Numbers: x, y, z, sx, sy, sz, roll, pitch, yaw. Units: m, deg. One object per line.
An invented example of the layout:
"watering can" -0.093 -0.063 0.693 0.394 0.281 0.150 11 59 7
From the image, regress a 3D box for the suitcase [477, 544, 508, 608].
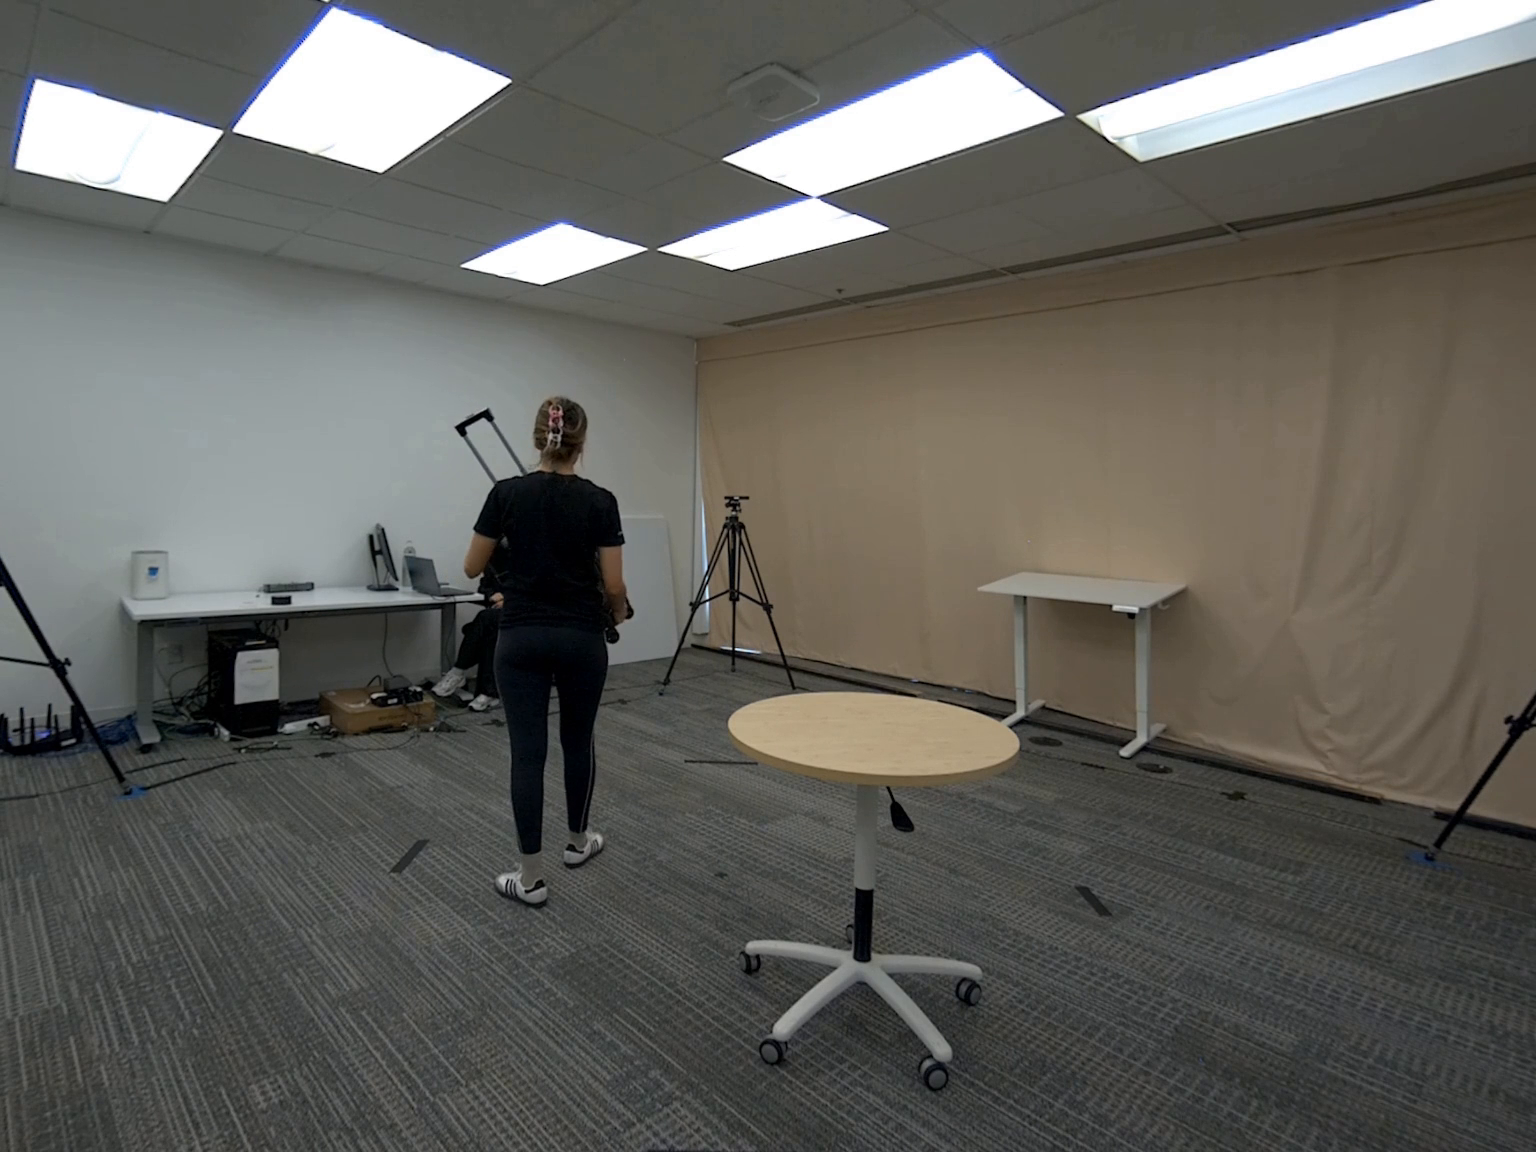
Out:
"suitcase" -0.926 -0.152 3.226 0.387 0.962 0.259 -22 18 19
